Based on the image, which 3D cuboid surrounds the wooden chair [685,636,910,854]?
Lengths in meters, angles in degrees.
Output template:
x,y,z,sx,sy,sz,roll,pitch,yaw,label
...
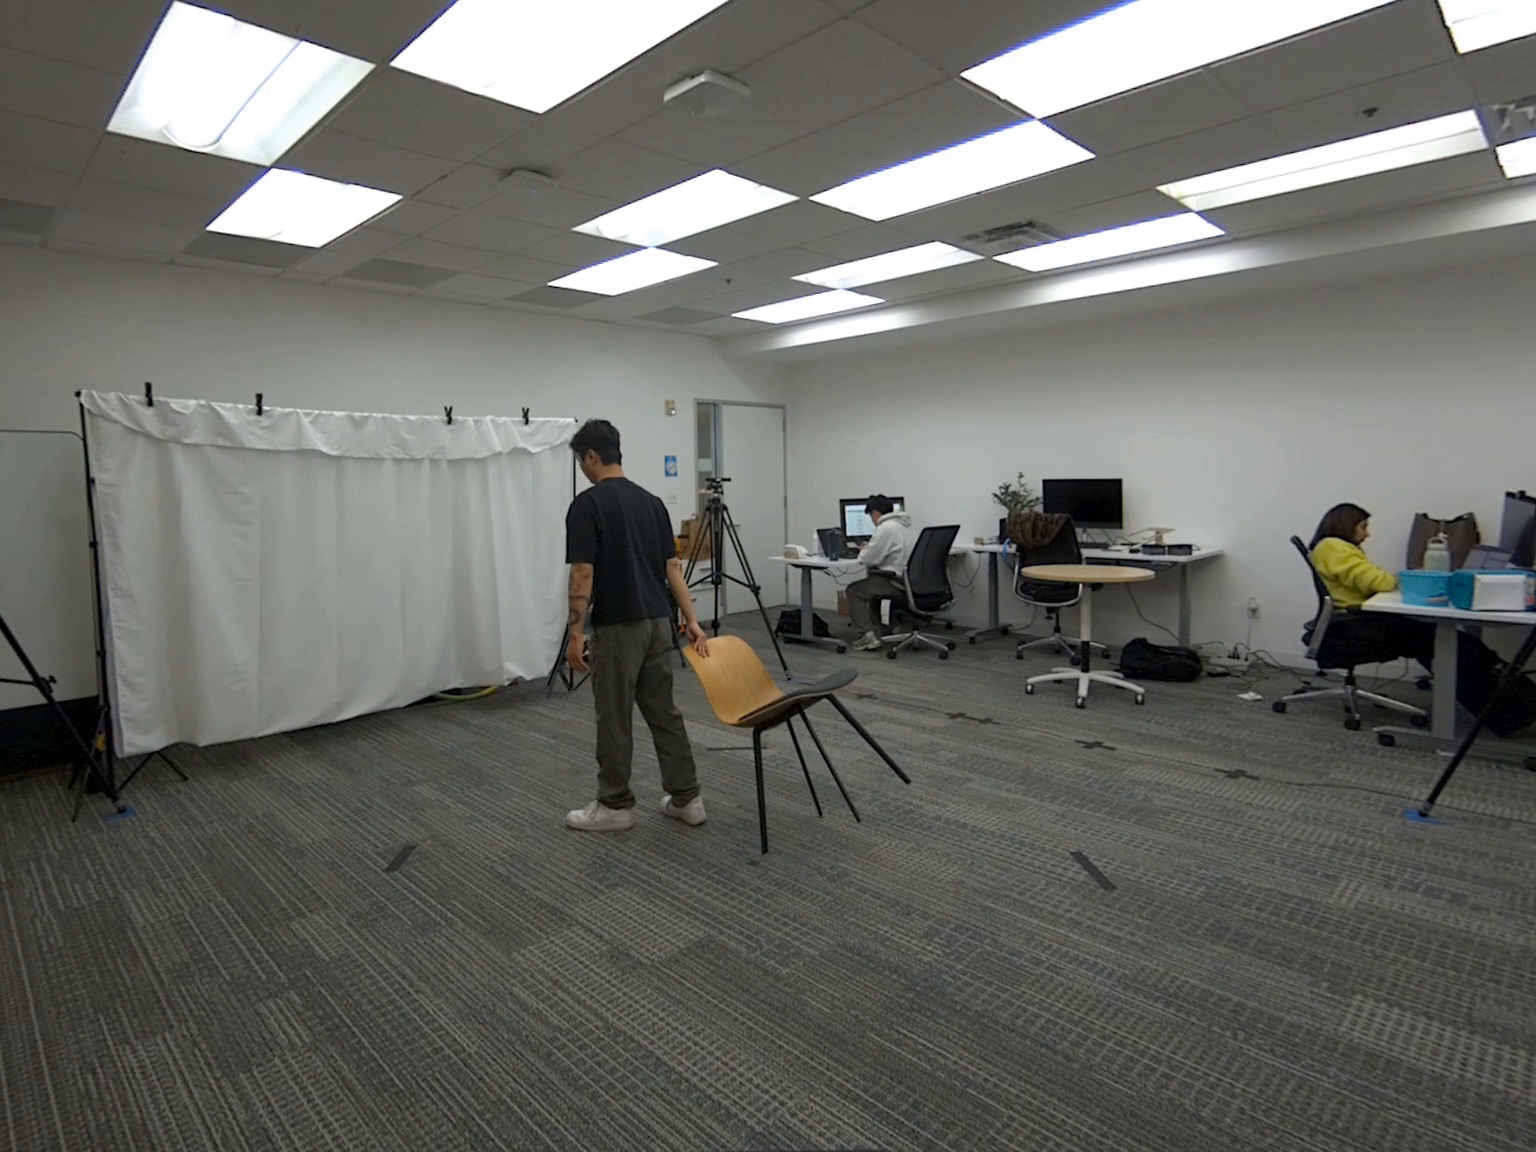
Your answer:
x,y,z,sx,sy,sz,roll,pitch,yaw,label
0.097,0.525,3.306,0.526,0.894,0.466,-37,-17,32,wooden chair
